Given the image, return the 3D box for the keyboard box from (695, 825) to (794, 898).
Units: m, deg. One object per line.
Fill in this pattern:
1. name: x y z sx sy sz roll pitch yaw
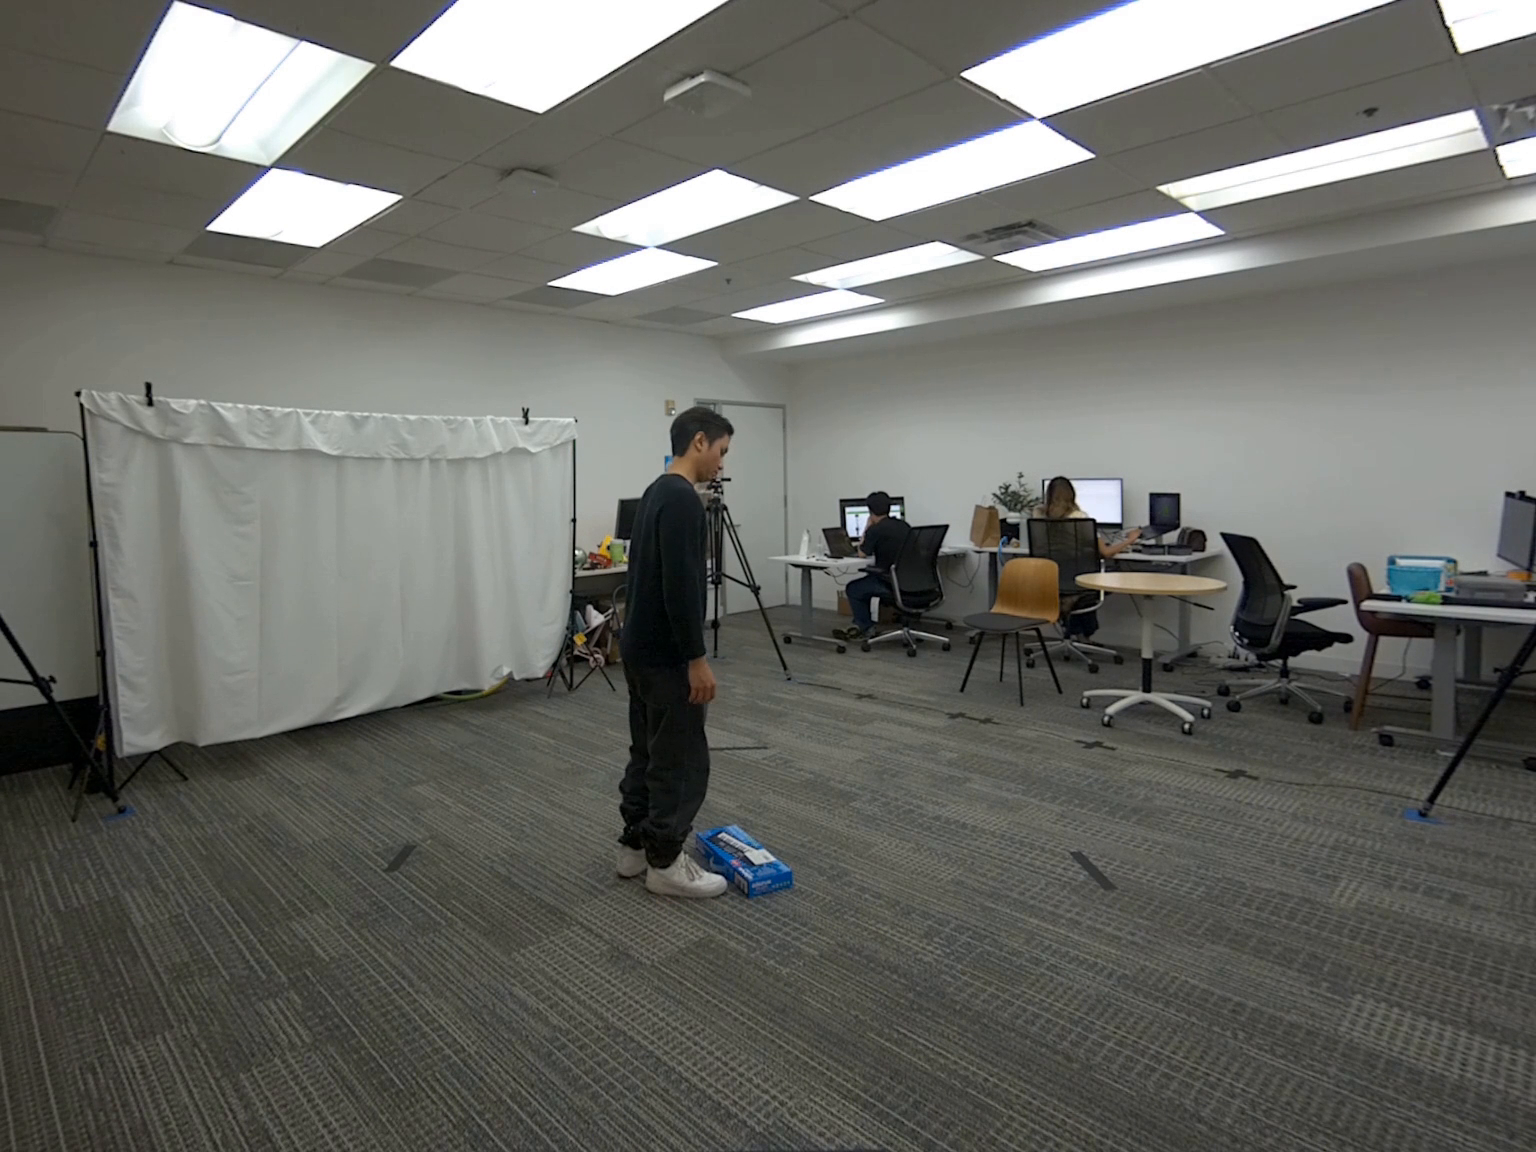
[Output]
1. keyboard box: -0.093 1.014 3.077 0.172 0.059 0.449 -4 8 -28
